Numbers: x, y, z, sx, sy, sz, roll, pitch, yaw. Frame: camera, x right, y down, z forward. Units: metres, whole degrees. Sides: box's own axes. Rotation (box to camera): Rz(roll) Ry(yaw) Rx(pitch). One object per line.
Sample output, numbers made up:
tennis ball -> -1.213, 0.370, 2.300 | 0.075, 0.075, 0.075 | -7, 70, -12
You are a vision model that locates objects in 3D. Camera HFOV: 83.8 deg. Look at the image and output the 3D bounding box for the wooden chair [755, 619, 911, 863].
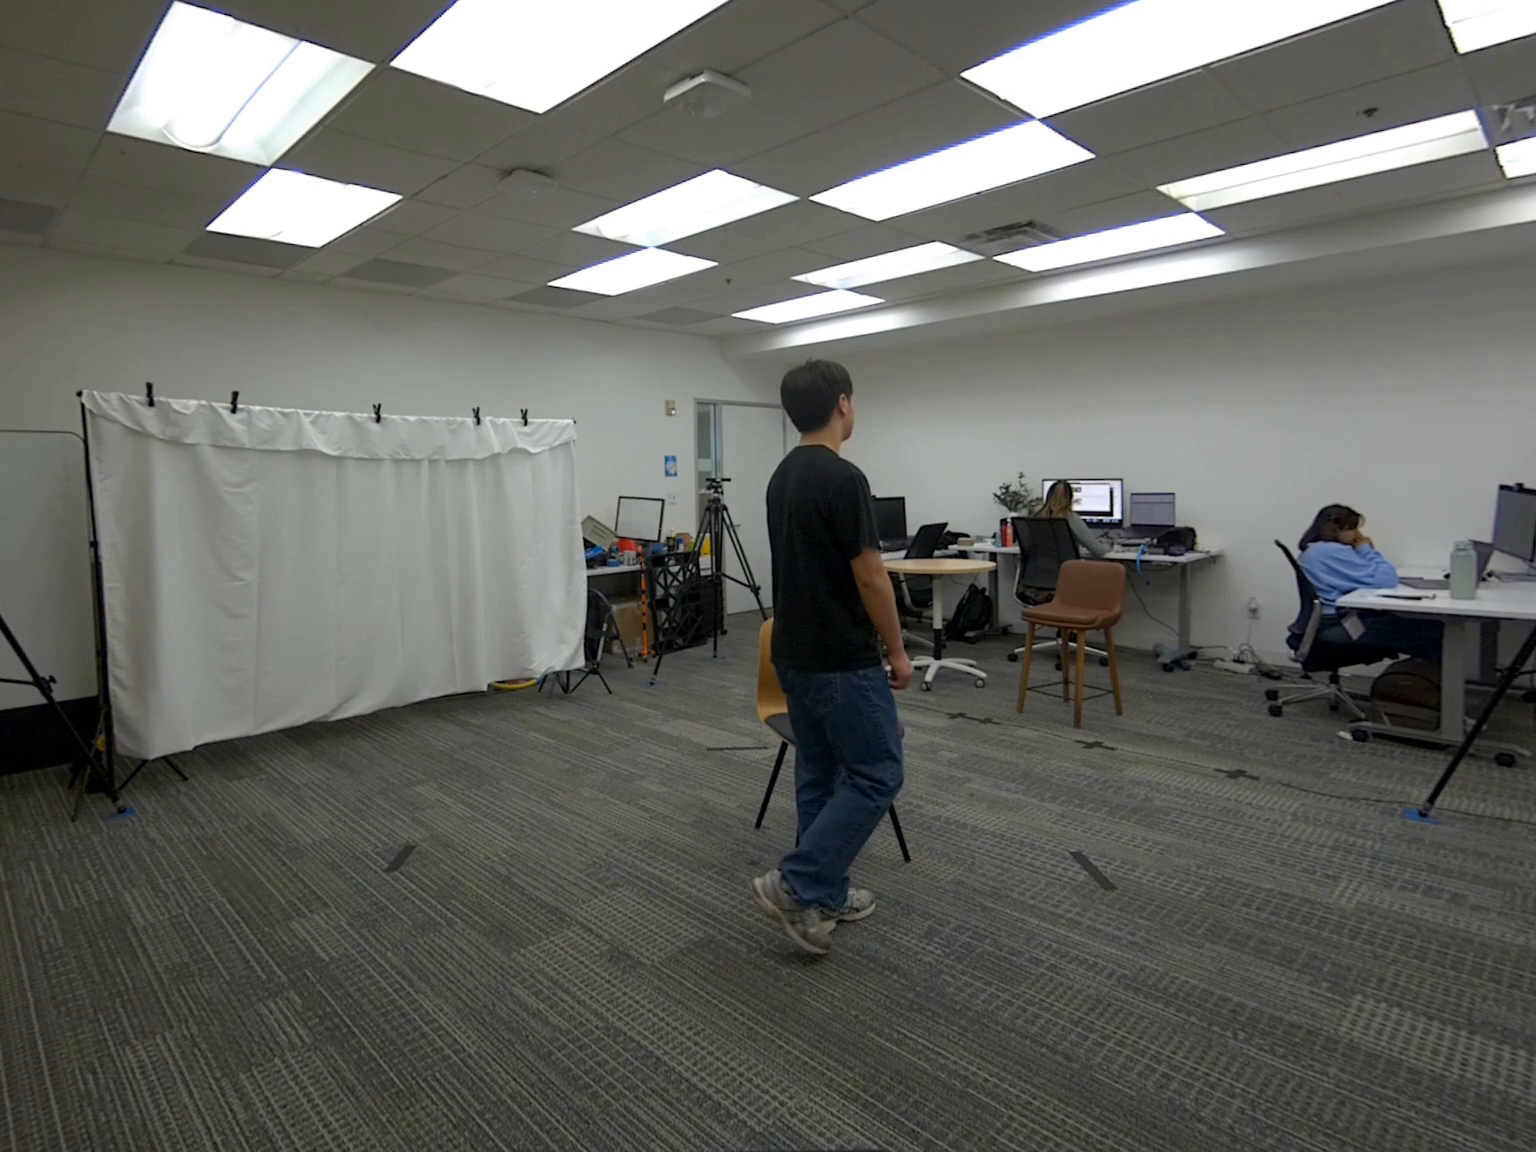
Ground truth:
wooden chair -> 0.231, 0.599, 3.218 | 0.471, 0.877, 0.531 | -2, 0, -17
